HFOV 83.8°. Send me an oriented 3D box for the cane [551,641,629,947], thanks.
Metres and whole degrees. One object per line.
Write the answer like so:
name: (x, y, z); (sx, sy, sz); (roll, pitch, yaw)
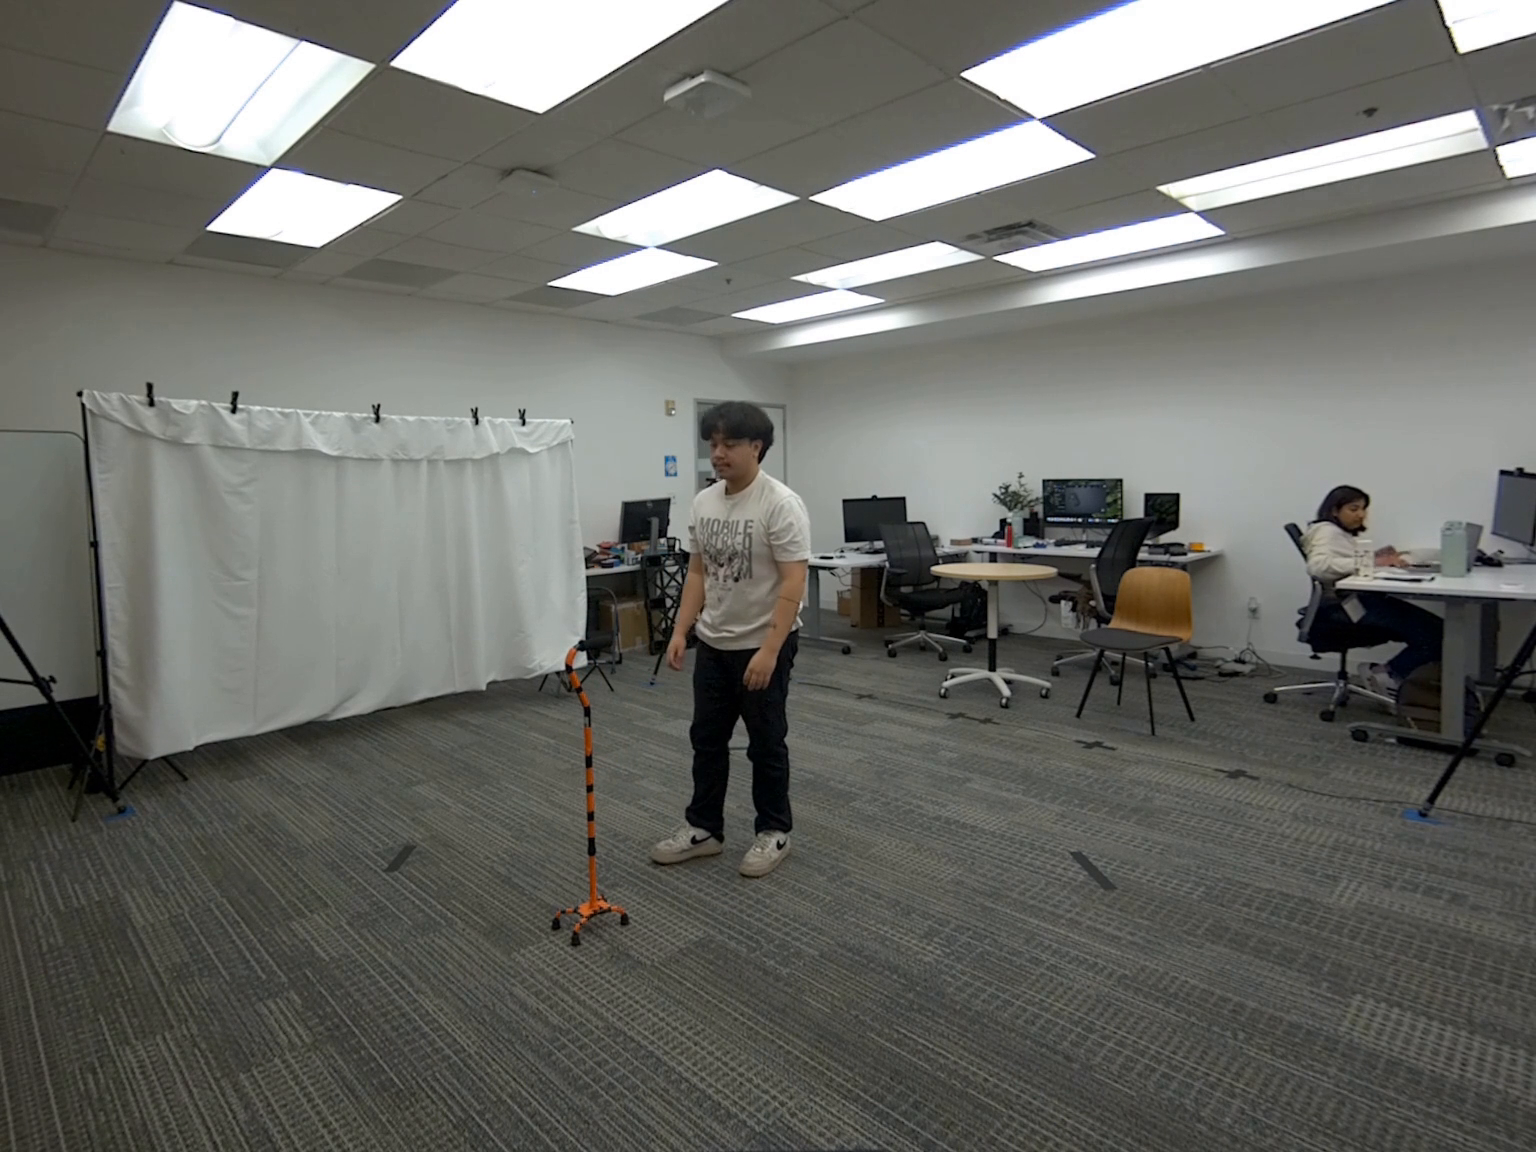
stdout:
cane: (-0.560, 0.651, 2.657); (0.201, 0.904, 0.156); (-5, 6, -43)
